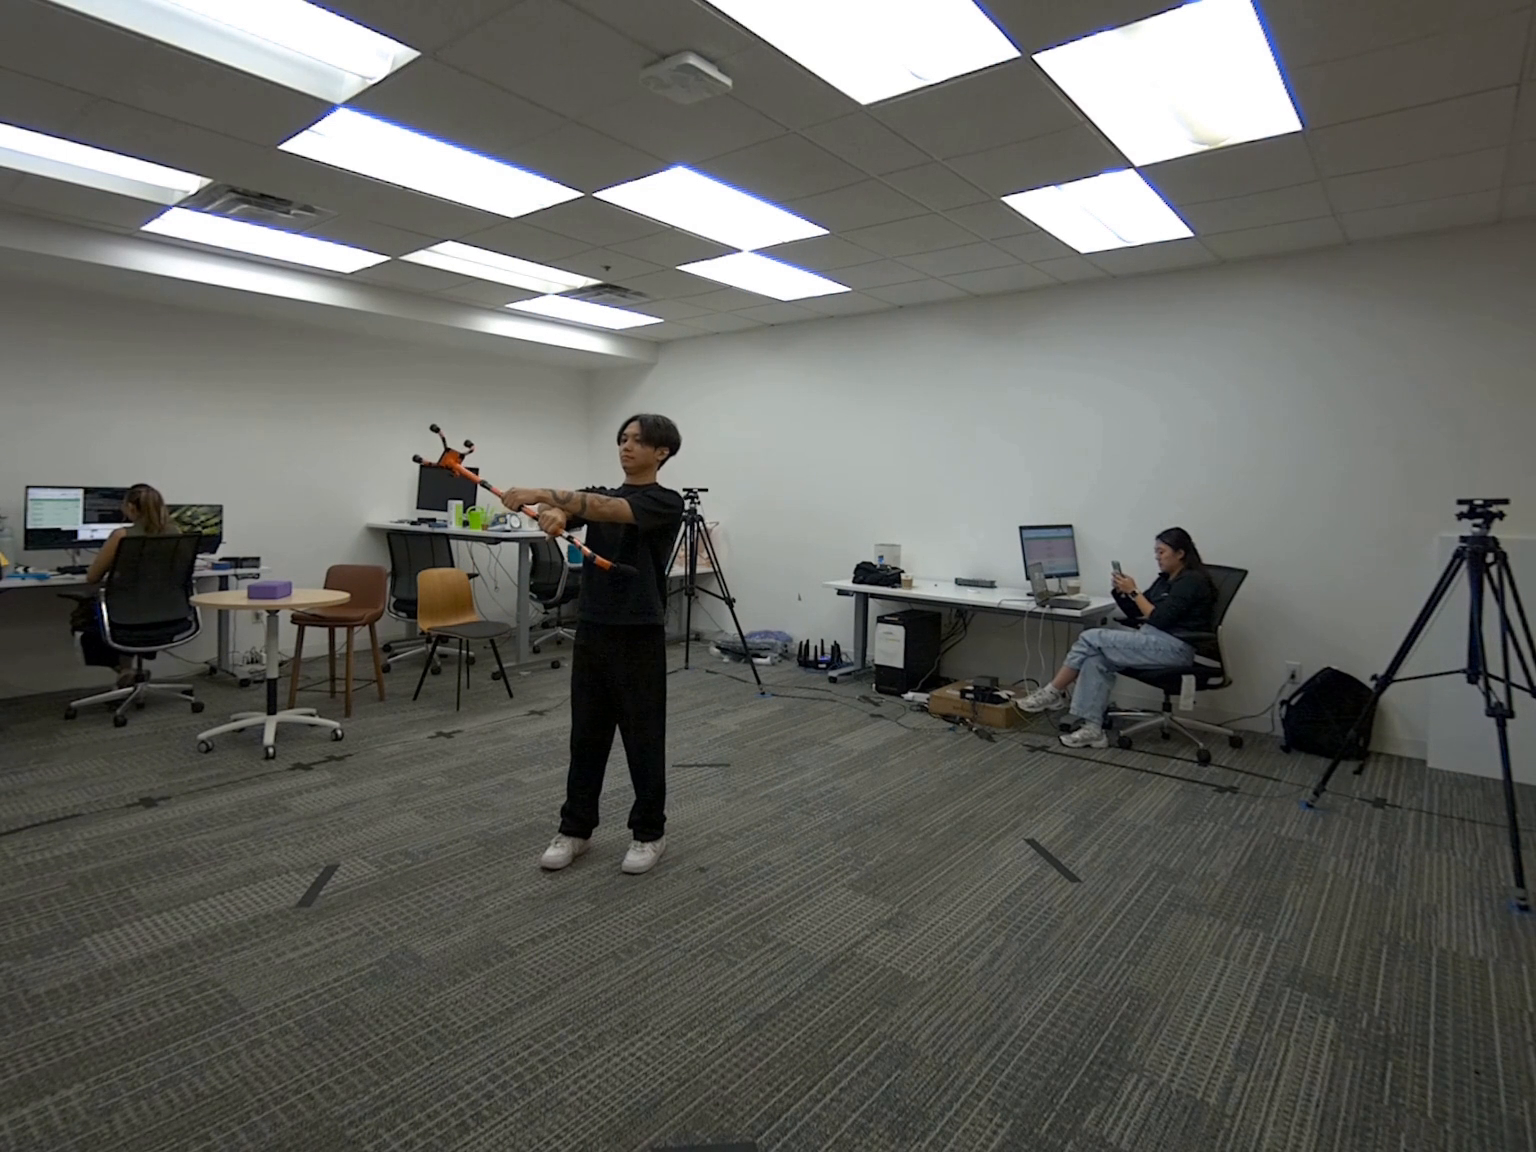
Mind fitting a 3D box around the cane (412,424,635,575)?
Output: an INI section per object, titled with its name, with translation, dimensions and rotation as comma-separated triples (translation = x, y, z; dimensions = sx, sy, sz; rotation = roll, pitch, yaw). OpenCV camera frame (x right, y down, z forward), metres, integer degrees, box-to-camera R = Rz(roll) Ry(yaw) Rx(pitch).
[cane]
translation = -0.817, -0.242, 2.837
dimensions = 0.940, 0.151, 0.199
rotation = 30, 1, 27
